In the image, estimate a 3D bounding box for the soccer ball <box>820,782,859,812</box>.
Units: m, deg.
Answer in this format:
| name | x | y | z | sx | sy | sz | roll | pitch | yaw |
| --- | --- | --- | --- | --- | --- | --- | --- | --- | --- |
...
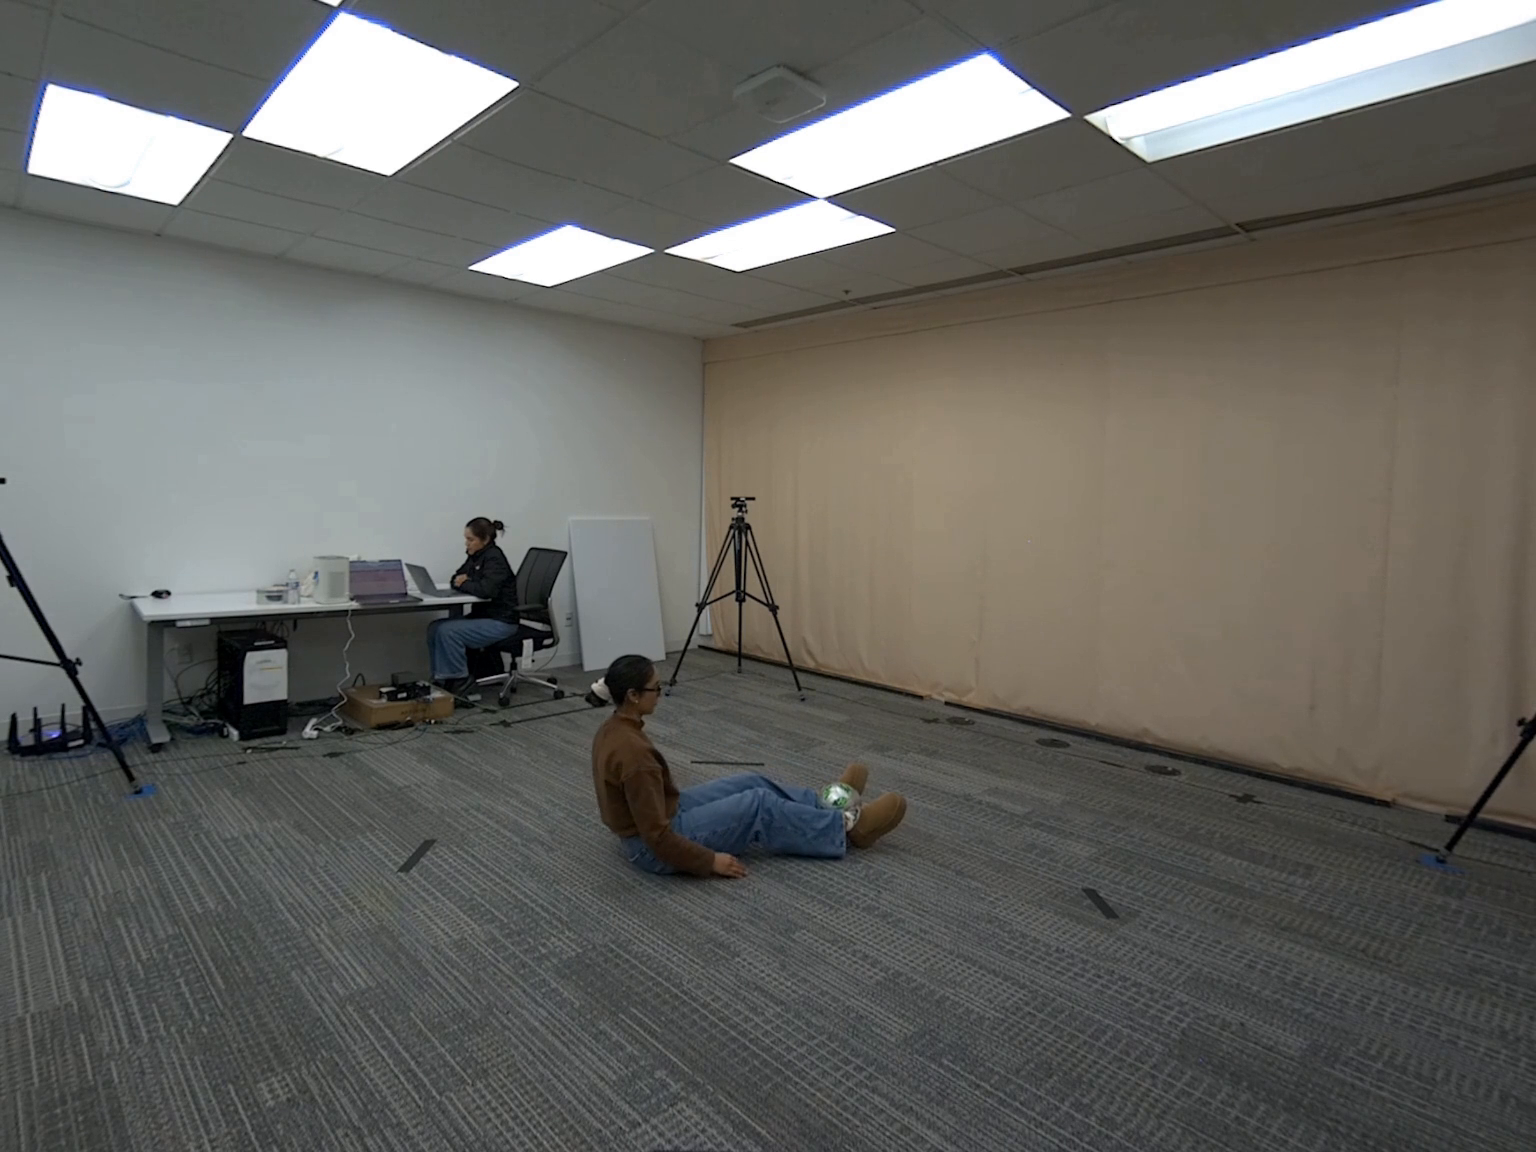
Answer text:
| name | x | y | z | sx | sy | sz | roll | pitch | yaw |
| --- | --- | --- | --- | --- | --- | --- | --- | --- | --- |
| soccer ball | 0.286 | 0.955 | 3.482 | 0.187 | 0.187 | 0.188 | 1 | 4 | -1 |
